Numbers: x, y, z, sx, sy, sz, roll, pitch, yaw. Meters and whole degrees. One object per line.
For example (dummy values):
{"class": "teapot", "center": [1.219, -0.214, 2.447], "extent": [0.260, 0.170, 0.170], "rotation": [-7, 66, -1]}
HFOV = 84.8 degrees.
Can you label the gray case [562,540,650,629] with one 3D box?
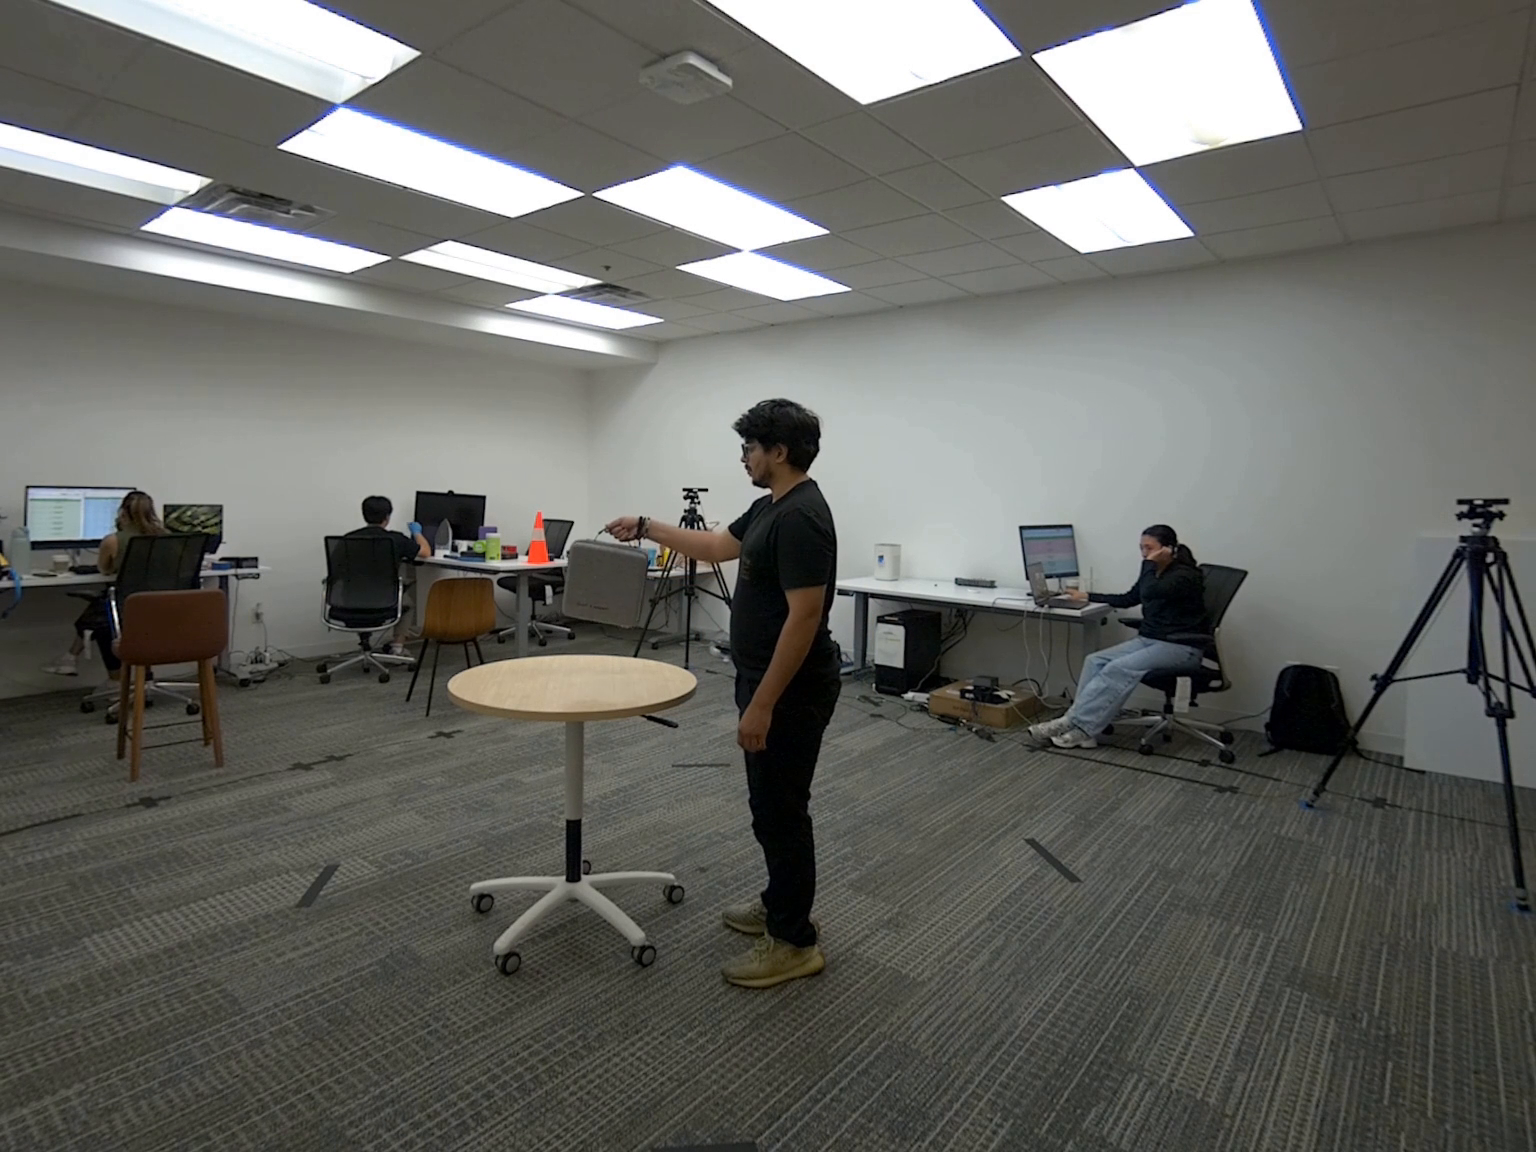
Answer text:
{"class": "gray case", "center": [-0.534, 0.023, 2.741], "extent": [0.257, 0.259, 0.105], "rotation": [10, 7, 1]}
